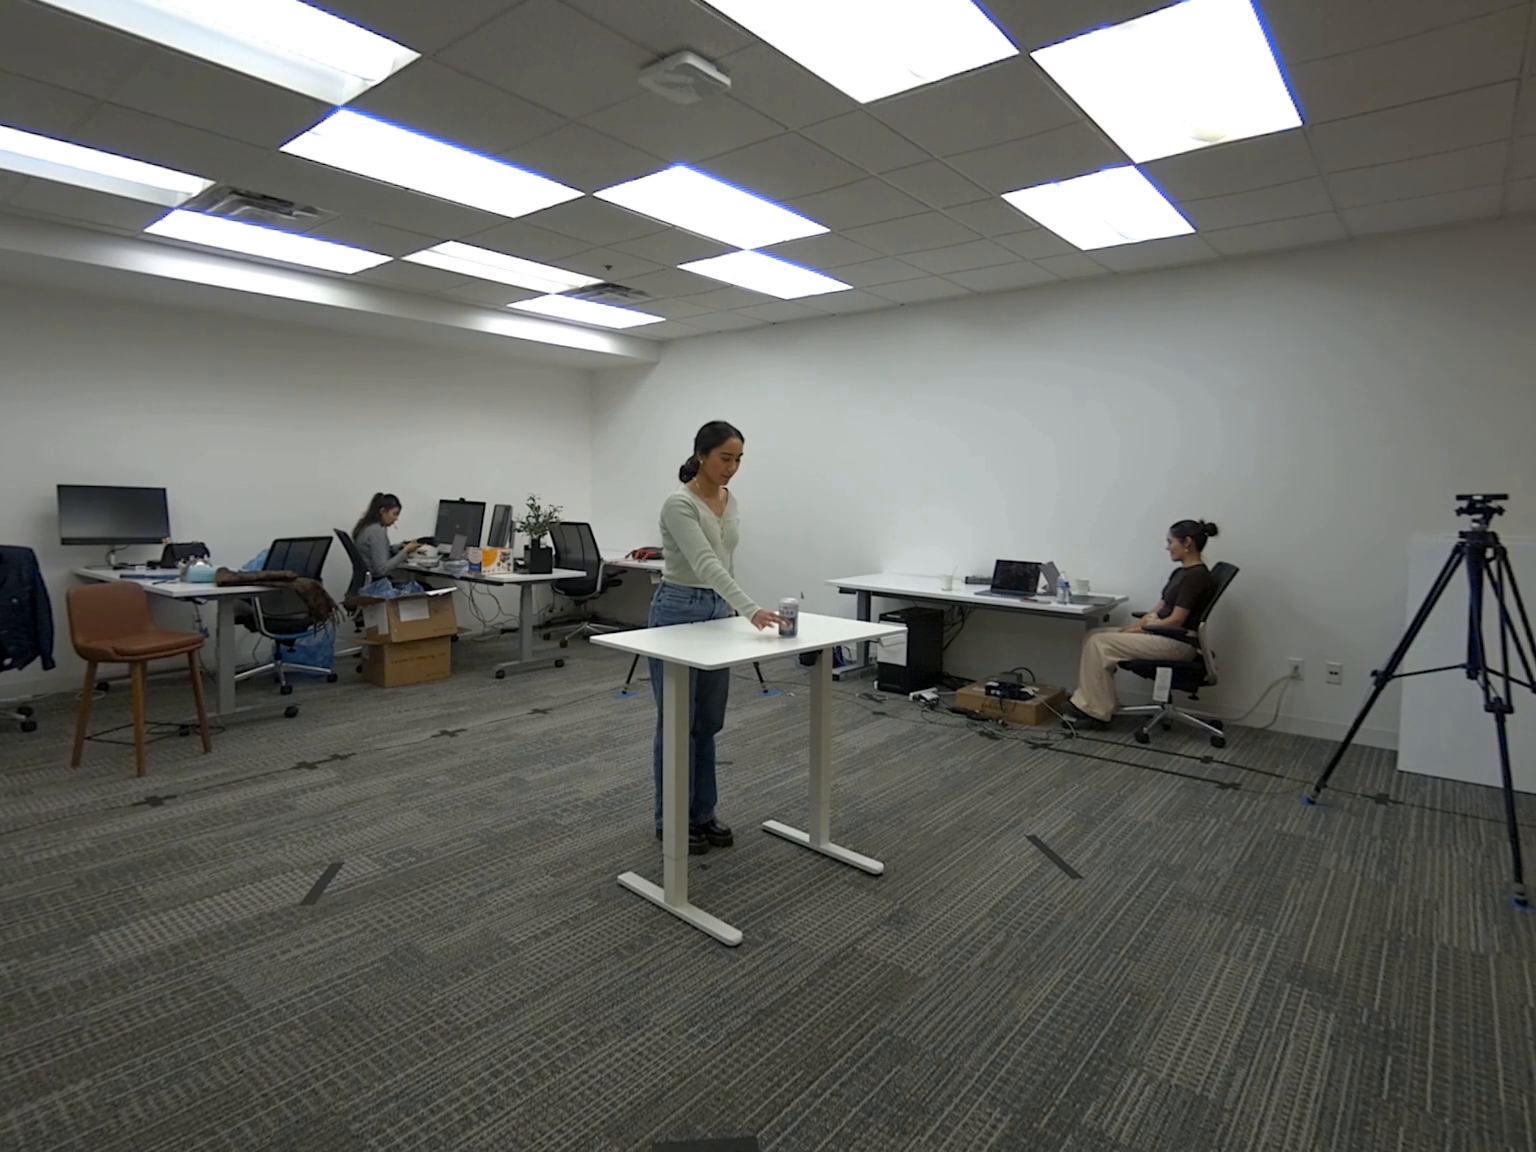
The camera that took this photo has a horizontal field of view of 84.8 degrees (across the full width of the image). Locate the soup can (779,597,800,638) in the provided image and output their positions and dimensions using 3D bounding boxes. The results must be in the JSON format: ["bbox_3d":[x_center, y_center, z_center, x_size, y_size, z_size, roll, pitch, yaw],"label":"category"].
[{"bbox_3d":[0.066,0.141,2.897,0.067,0.120,0.068,1,10,-2],"label":"soup can"}]
